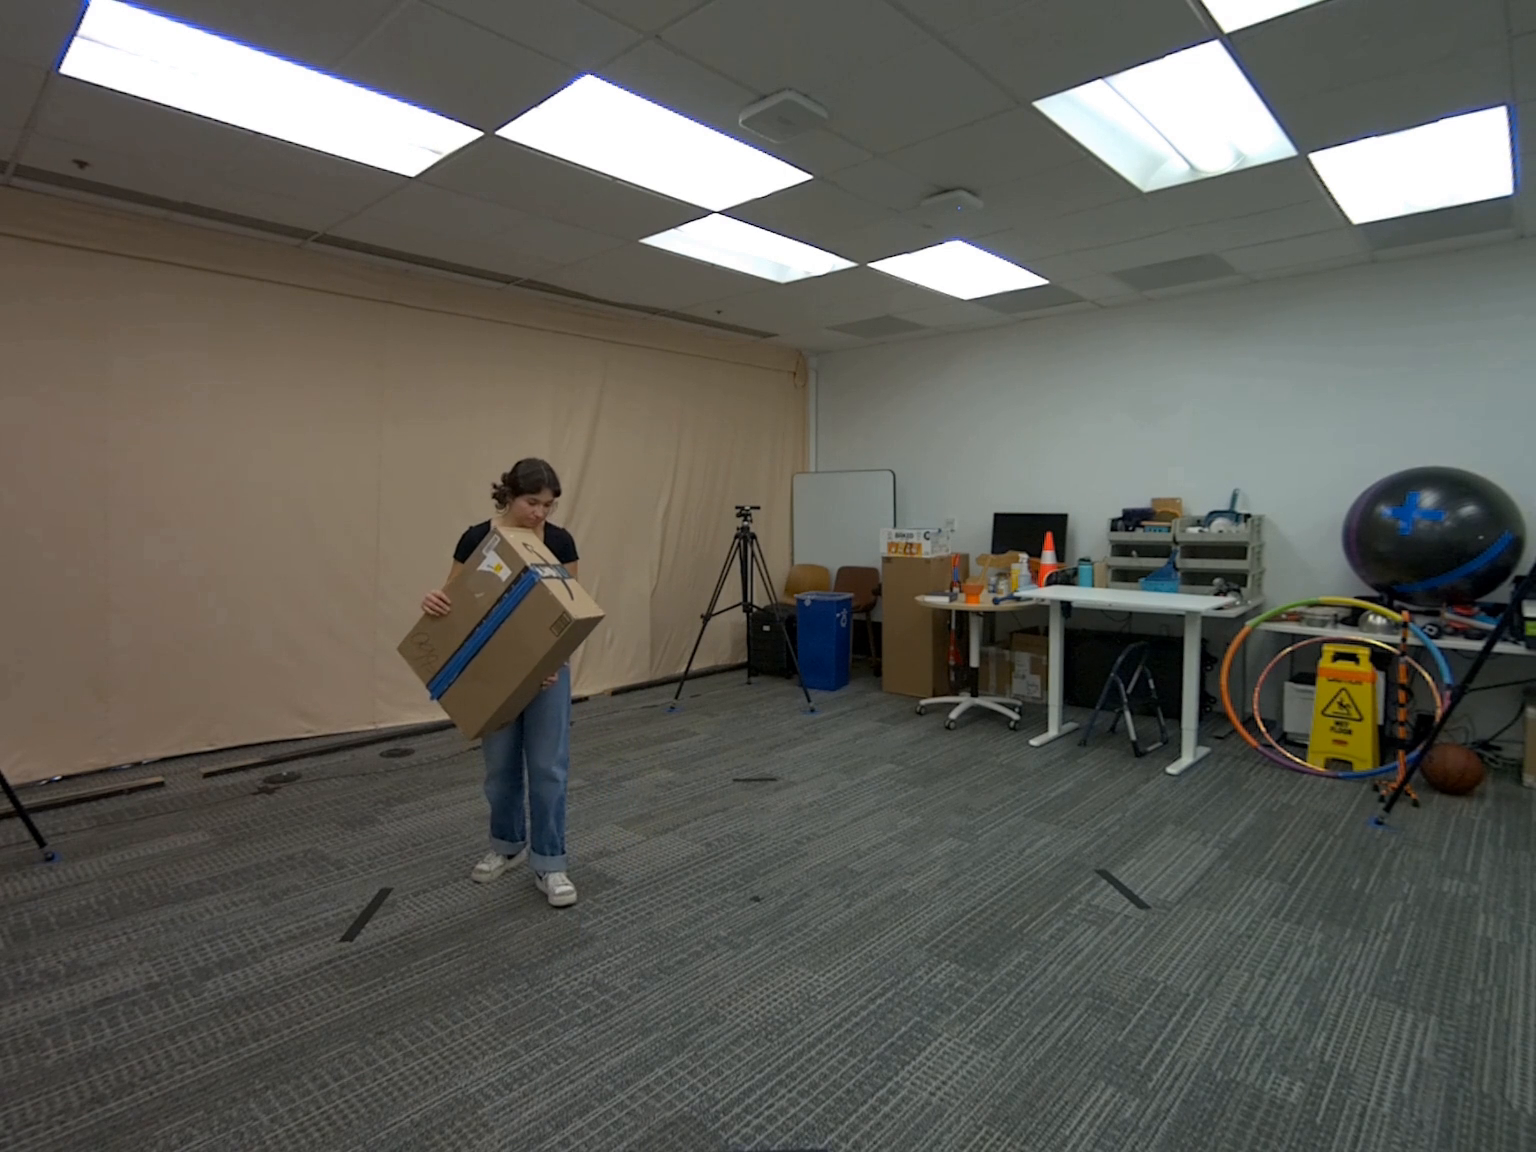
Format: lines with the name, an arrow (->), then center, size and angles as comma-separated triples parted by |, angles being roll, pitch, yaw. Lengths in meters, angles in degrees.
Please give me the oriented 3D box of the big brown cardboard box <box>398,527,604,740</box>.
big brown cardboard box -> -0.884, 0.184, 2.804 | 0.424, 0.591, 0.228 | 46, 15, 13
